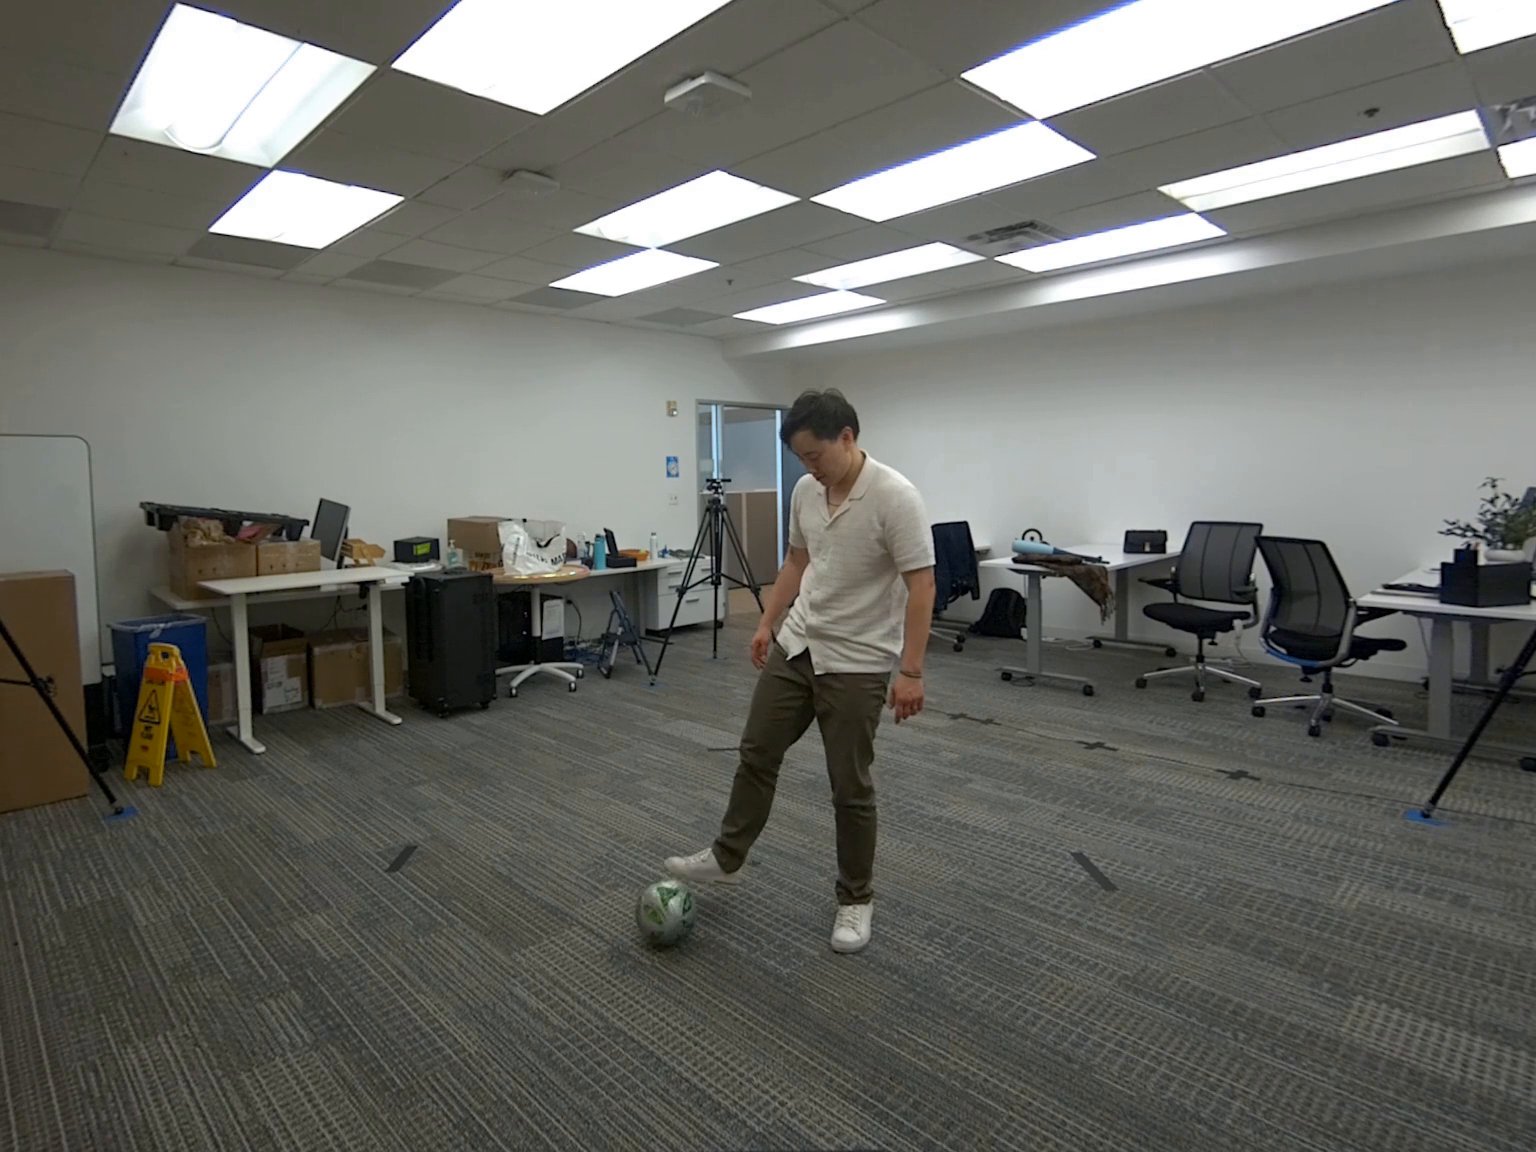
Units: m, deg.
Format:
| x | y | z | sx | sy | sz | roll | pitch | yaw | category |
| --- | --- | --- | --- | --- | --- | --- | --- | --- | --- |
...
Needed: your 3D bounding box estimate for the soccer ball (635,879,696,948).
| x | y | z | sx | sy | sz | roll | pitch | yaw | category |
| --- | --- | --- | --- | --- | --- | --- | --- | --- | --- |
| -0.303 | 1.021 | 2.588 | 0.187 | 0.187 | 0.188 | -1 | 5 | -2 | soccer ball |
